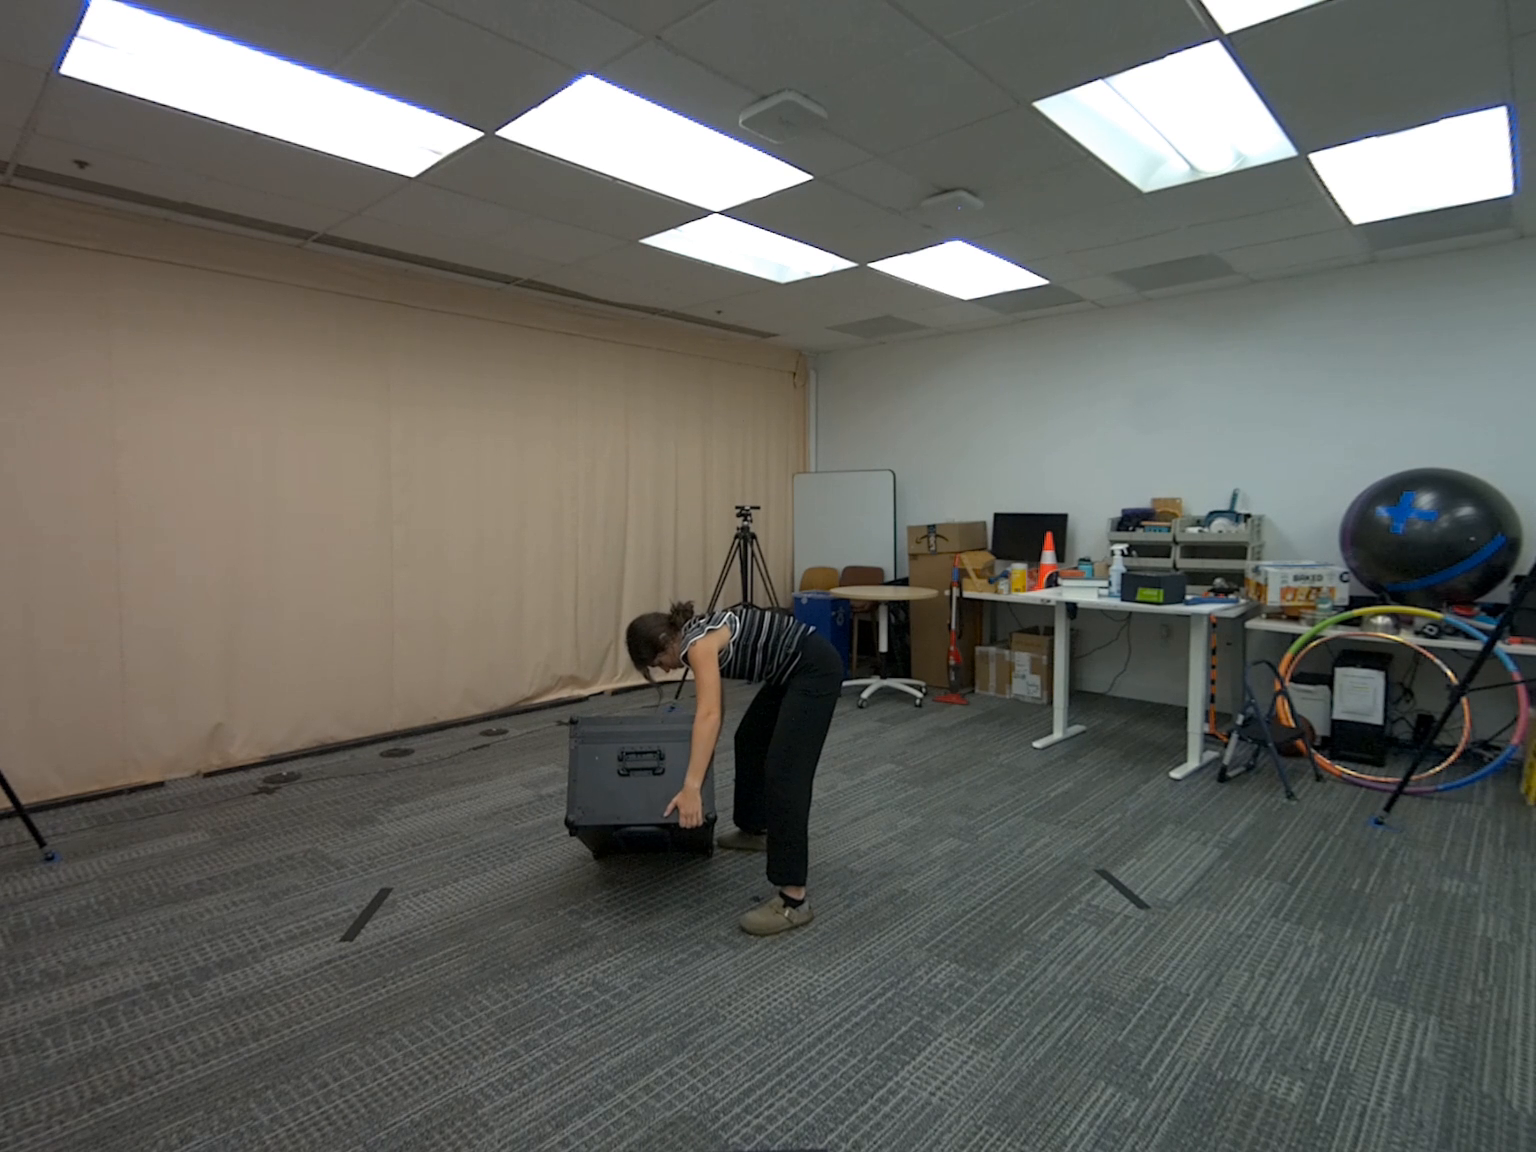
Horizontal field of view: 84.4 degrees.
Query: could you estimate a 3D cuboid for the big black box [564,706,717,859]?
[{"bbox_3d":[-0.449,0.821,3.141,0.520,0.402,0.850,0,-24,-3],"label":"big black box"}]
